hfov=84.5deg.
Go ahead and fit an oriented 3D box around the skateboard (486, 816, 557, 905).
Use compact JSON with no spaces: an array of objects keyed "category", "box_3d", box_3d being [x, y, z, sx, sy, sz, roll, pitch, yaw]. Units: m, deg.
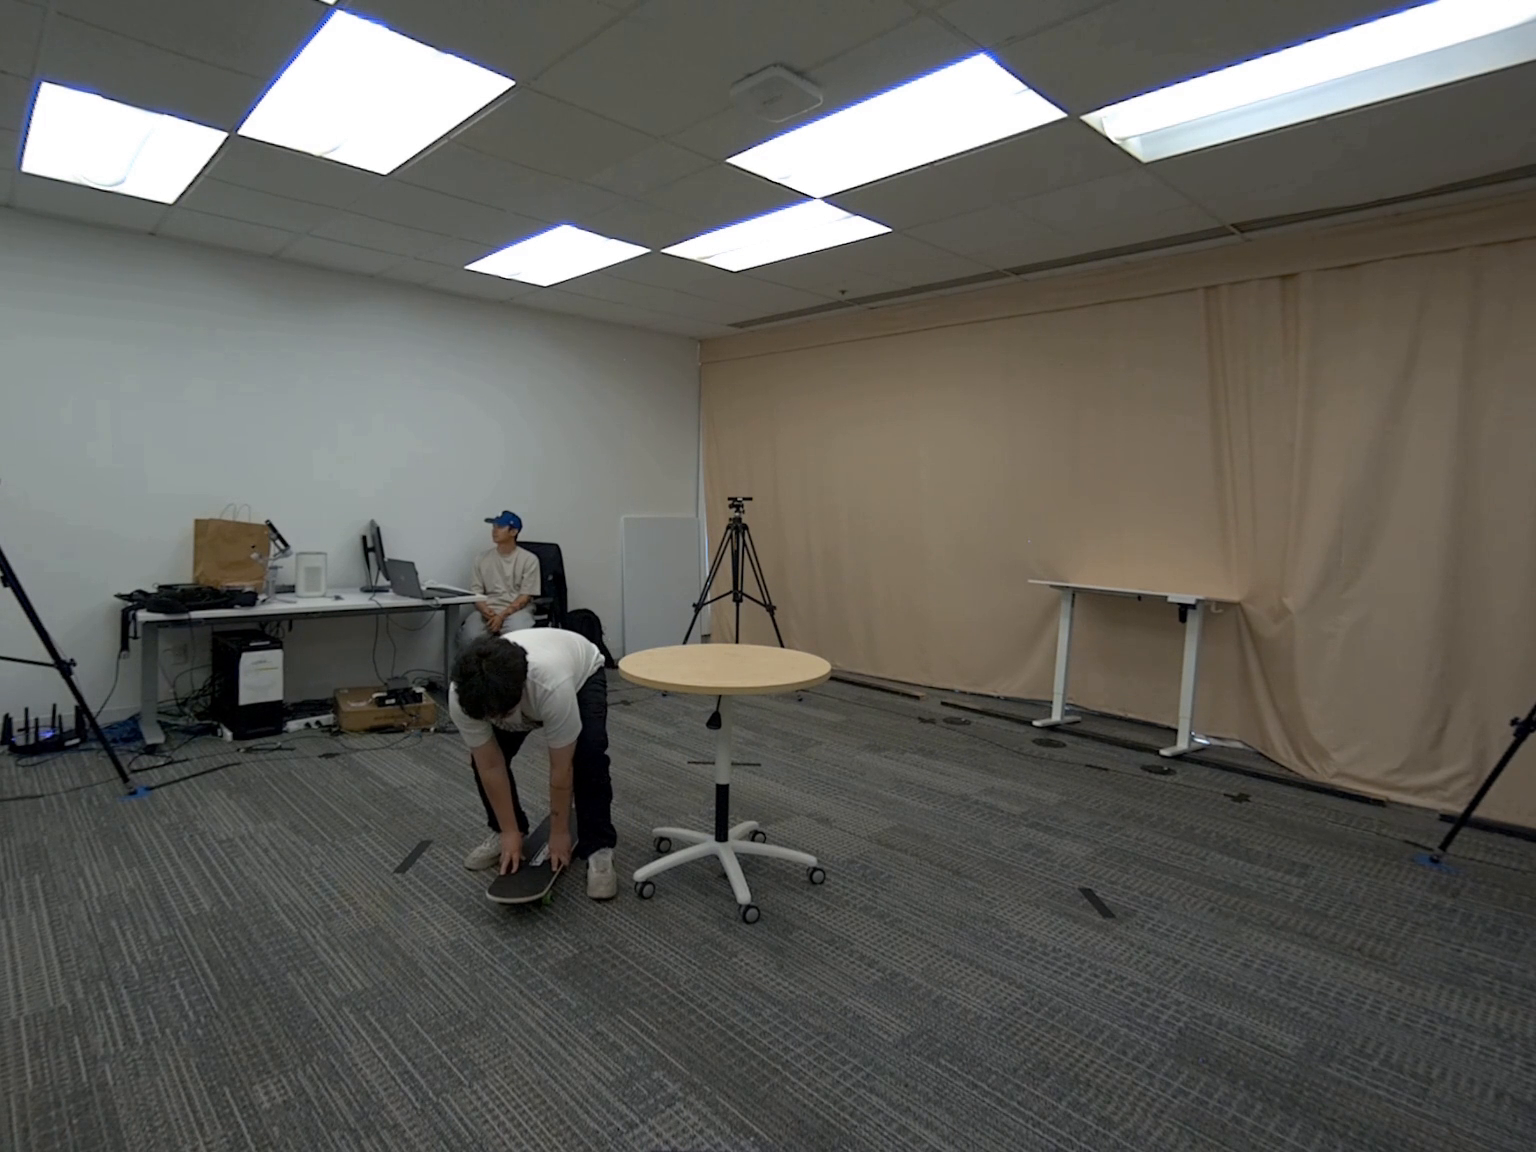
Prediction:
[{"category":"skateboard","box_3d":[-0.822,1.040,3.057,0.194,0.110,0.786,2,5,1]}]
